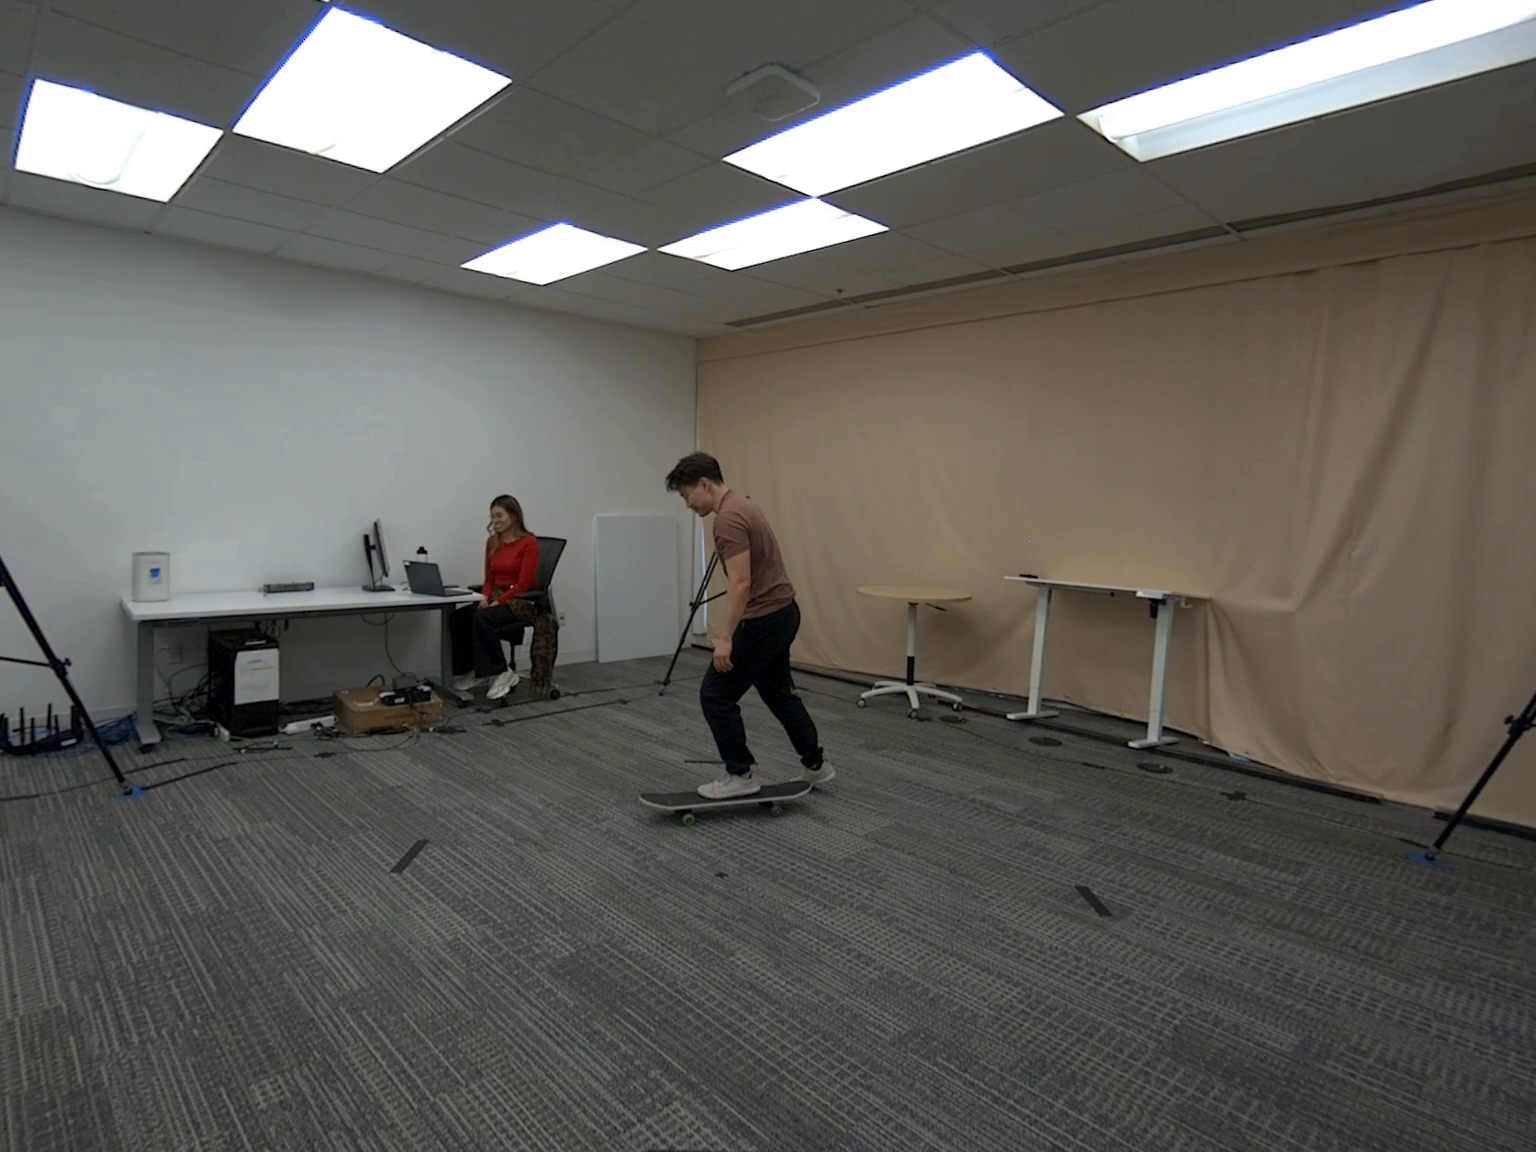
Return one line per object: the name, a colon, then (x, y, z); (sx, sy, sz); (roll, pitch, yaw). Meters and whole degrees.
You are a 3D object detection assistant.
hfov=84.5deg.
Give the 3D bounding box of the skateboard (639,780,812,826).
skateboard: (-0.190, 0.992, 3.701); (0.774, 0.110, 0.196); (0, 2, -18)
